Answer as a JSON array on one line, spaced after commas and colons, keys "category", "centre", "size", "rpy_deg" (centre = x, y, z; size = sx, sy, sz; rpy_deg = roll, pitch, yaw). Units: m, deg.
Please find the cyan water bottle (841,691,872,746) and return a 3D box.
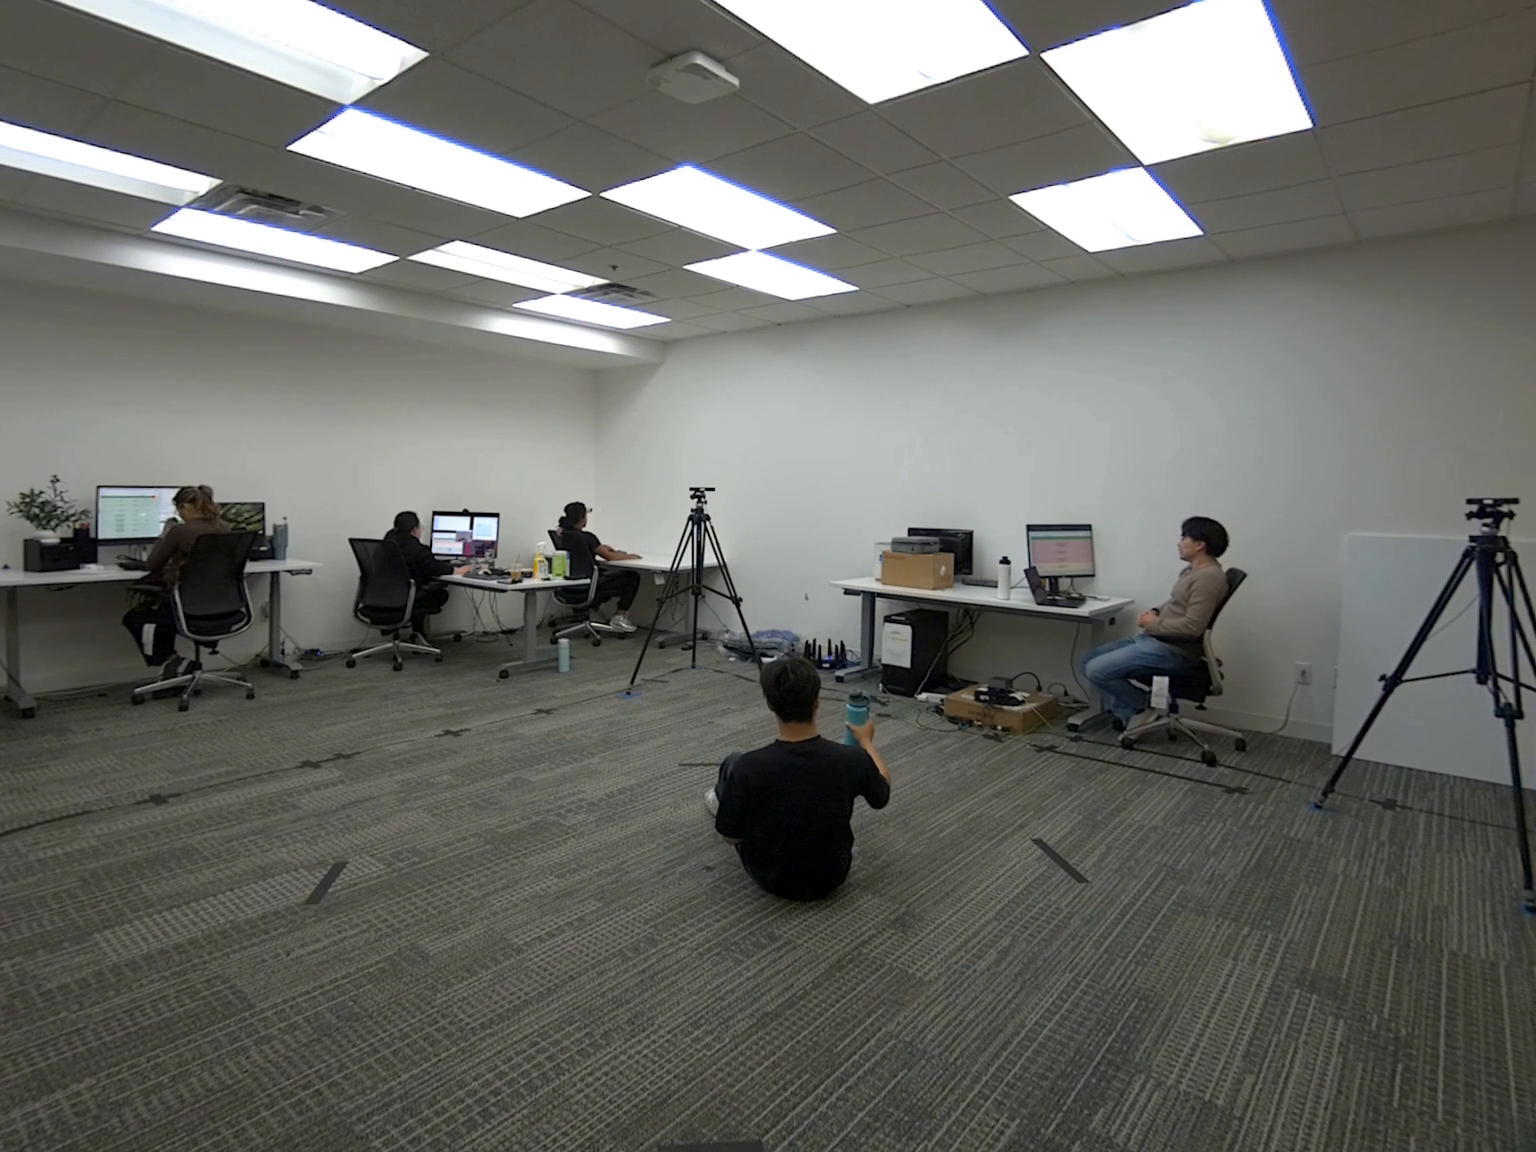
[{"category": "cyan water bottle", "centre": [0.347, 0.583, 3.373], "size": [0.092, 0.281, 0.093], "rpy_deg": [4, 11, -3]}]
